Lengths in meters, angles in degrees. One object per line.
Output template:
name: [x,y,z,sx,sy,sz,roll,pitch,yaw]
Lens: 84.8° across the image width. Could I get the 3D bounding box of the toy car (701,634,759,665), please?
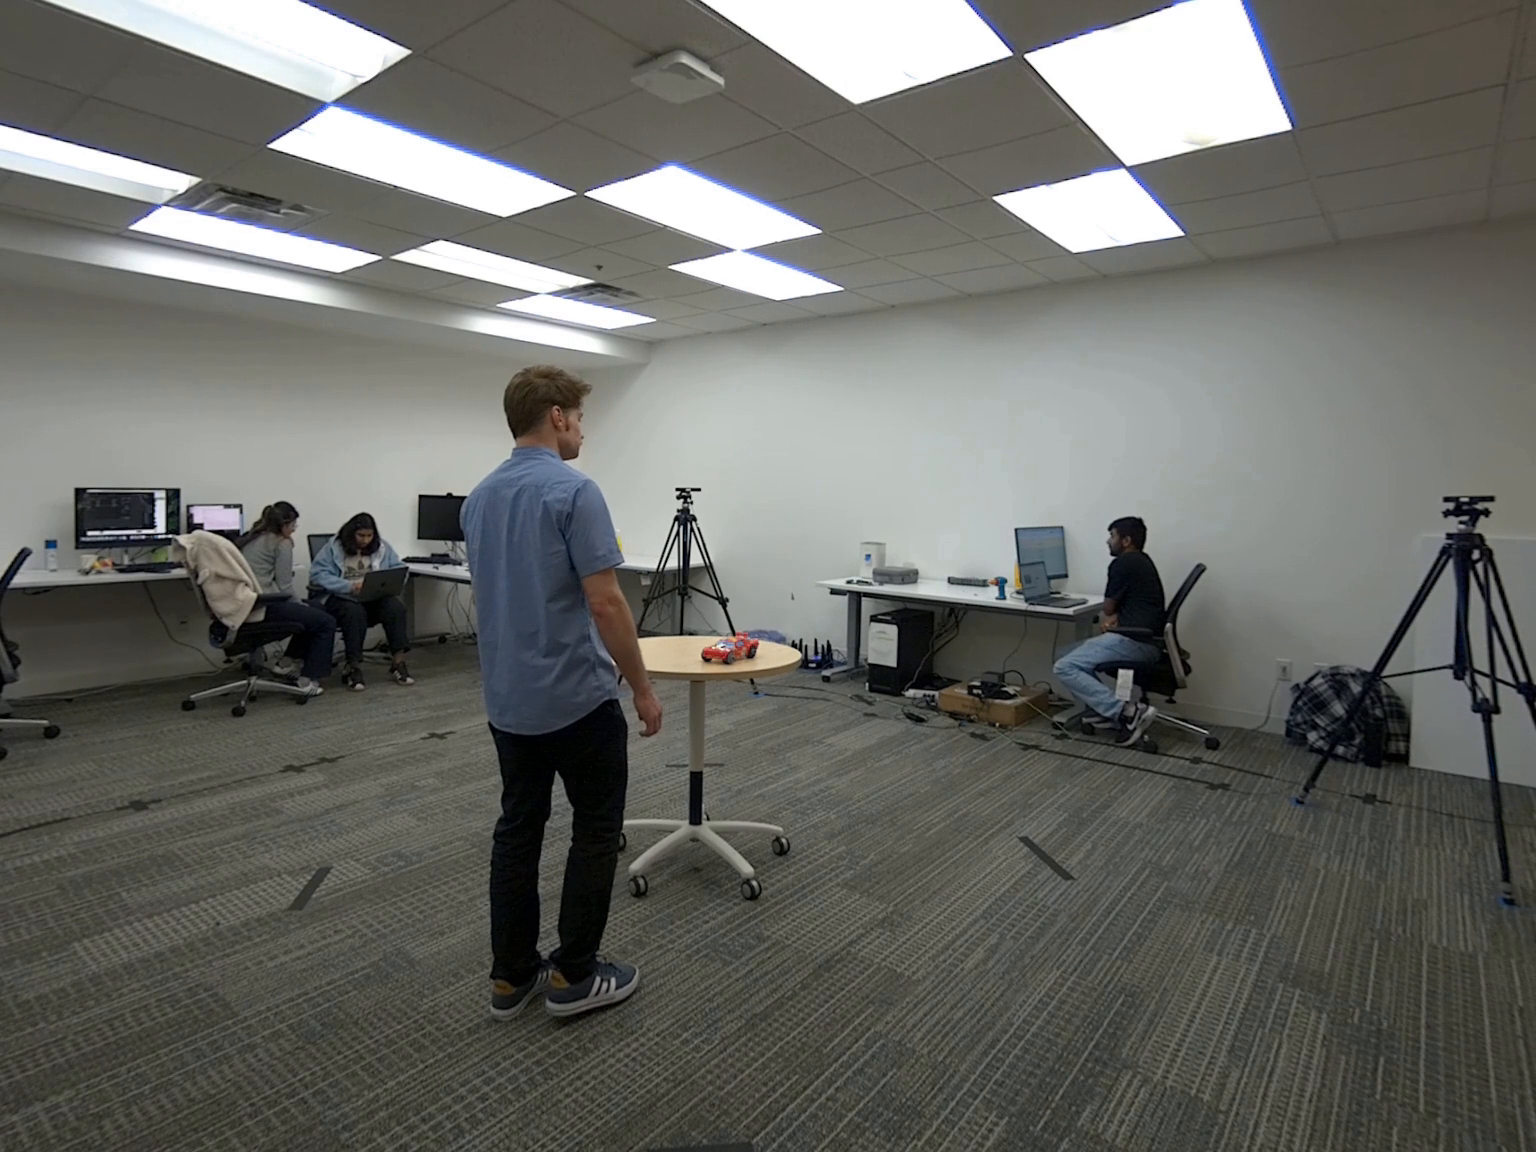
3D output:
toy car: [-0.135,0.260,3.027,0.134,0.082,0.250,3,16,32]
